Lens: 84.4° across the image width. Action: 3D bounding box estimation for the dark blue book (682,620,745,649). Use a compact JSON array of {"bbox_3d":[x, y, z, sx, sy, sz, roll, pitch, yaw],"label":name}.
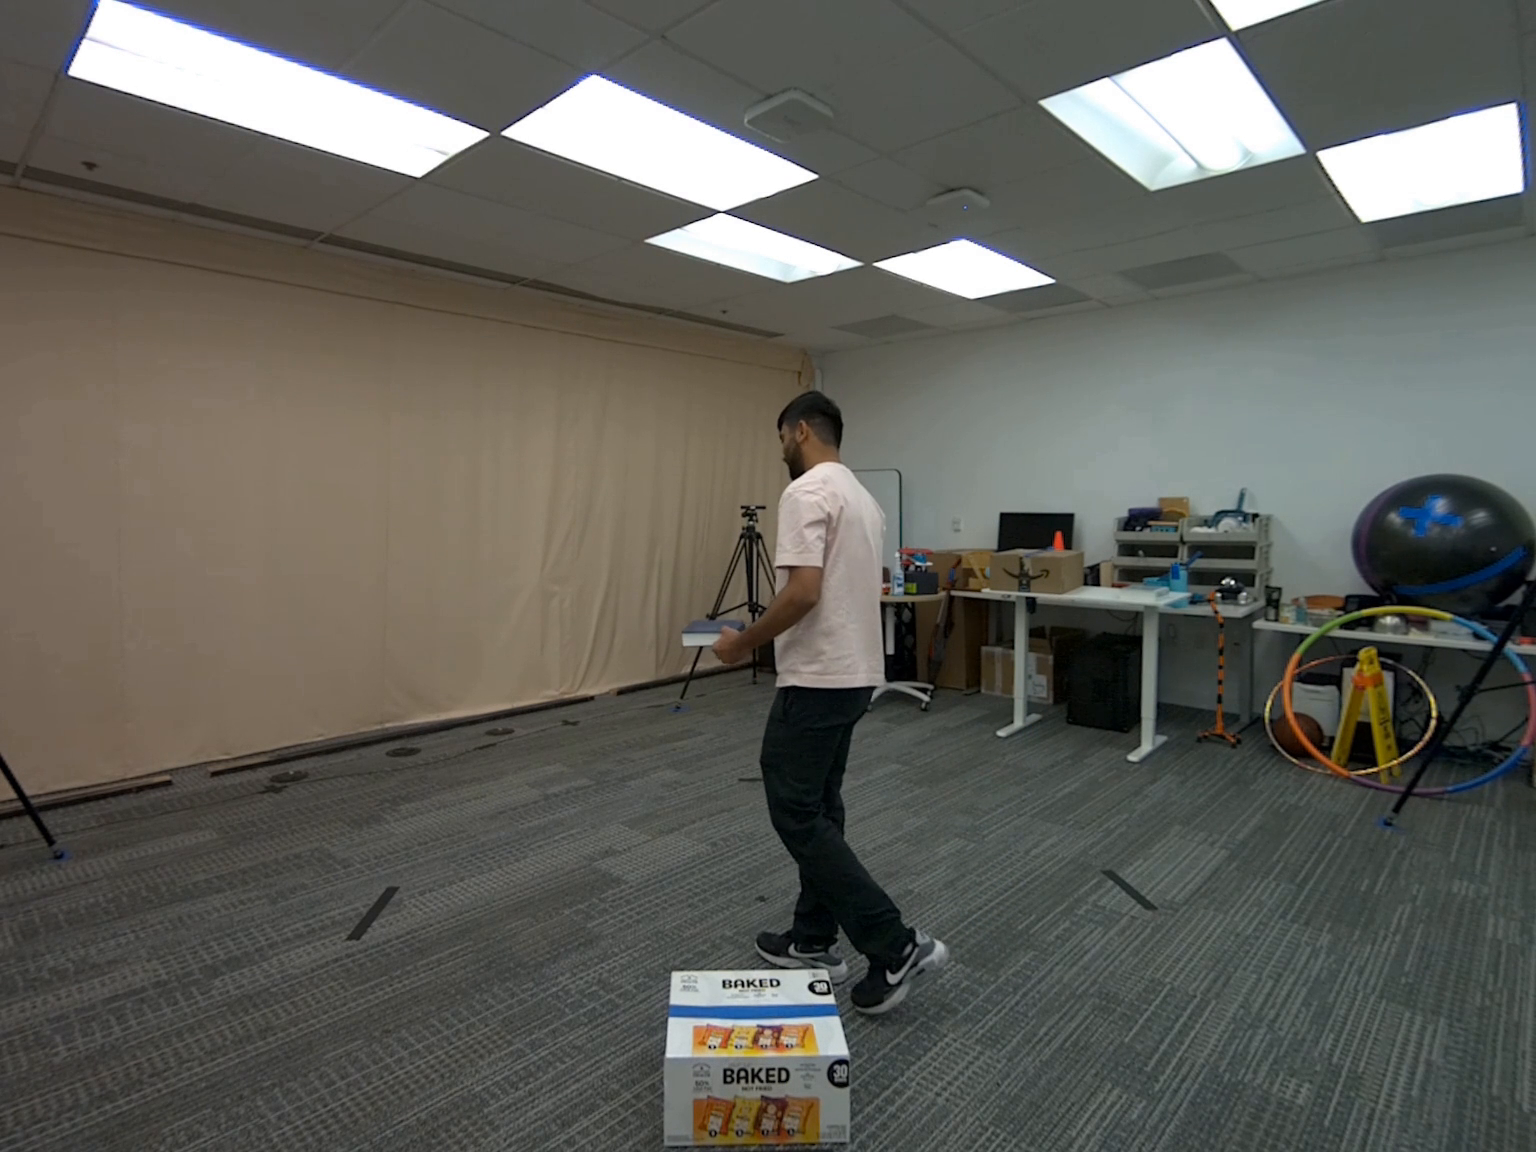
[{"bbox_3d":[-0.150,0.182,2.545,0.164,0.045,0.244,-3,5,5],"label":"dark blue book"}]
